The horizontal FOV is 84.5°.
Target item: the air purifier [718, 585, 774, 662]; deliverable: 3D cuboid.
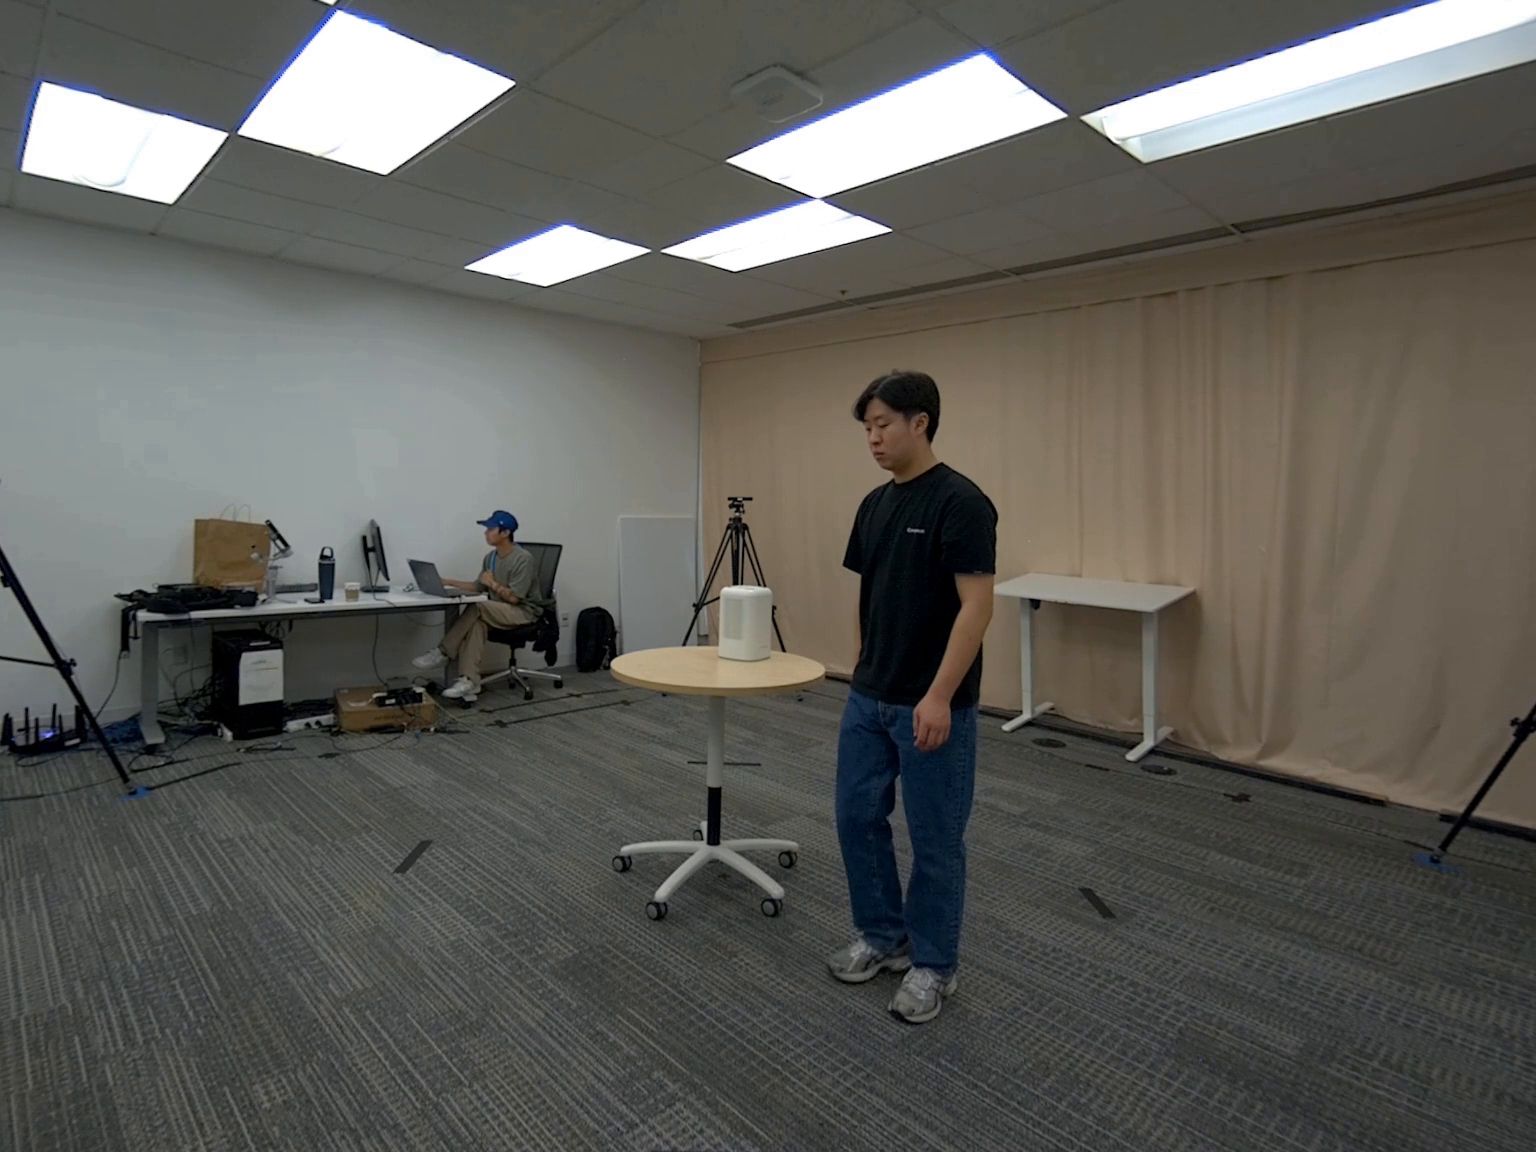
[{"bbox_3d":[-0.092,0.174,3.179,0.176,0.265,0.167,5,4,34],"label":"air purifier"}]
